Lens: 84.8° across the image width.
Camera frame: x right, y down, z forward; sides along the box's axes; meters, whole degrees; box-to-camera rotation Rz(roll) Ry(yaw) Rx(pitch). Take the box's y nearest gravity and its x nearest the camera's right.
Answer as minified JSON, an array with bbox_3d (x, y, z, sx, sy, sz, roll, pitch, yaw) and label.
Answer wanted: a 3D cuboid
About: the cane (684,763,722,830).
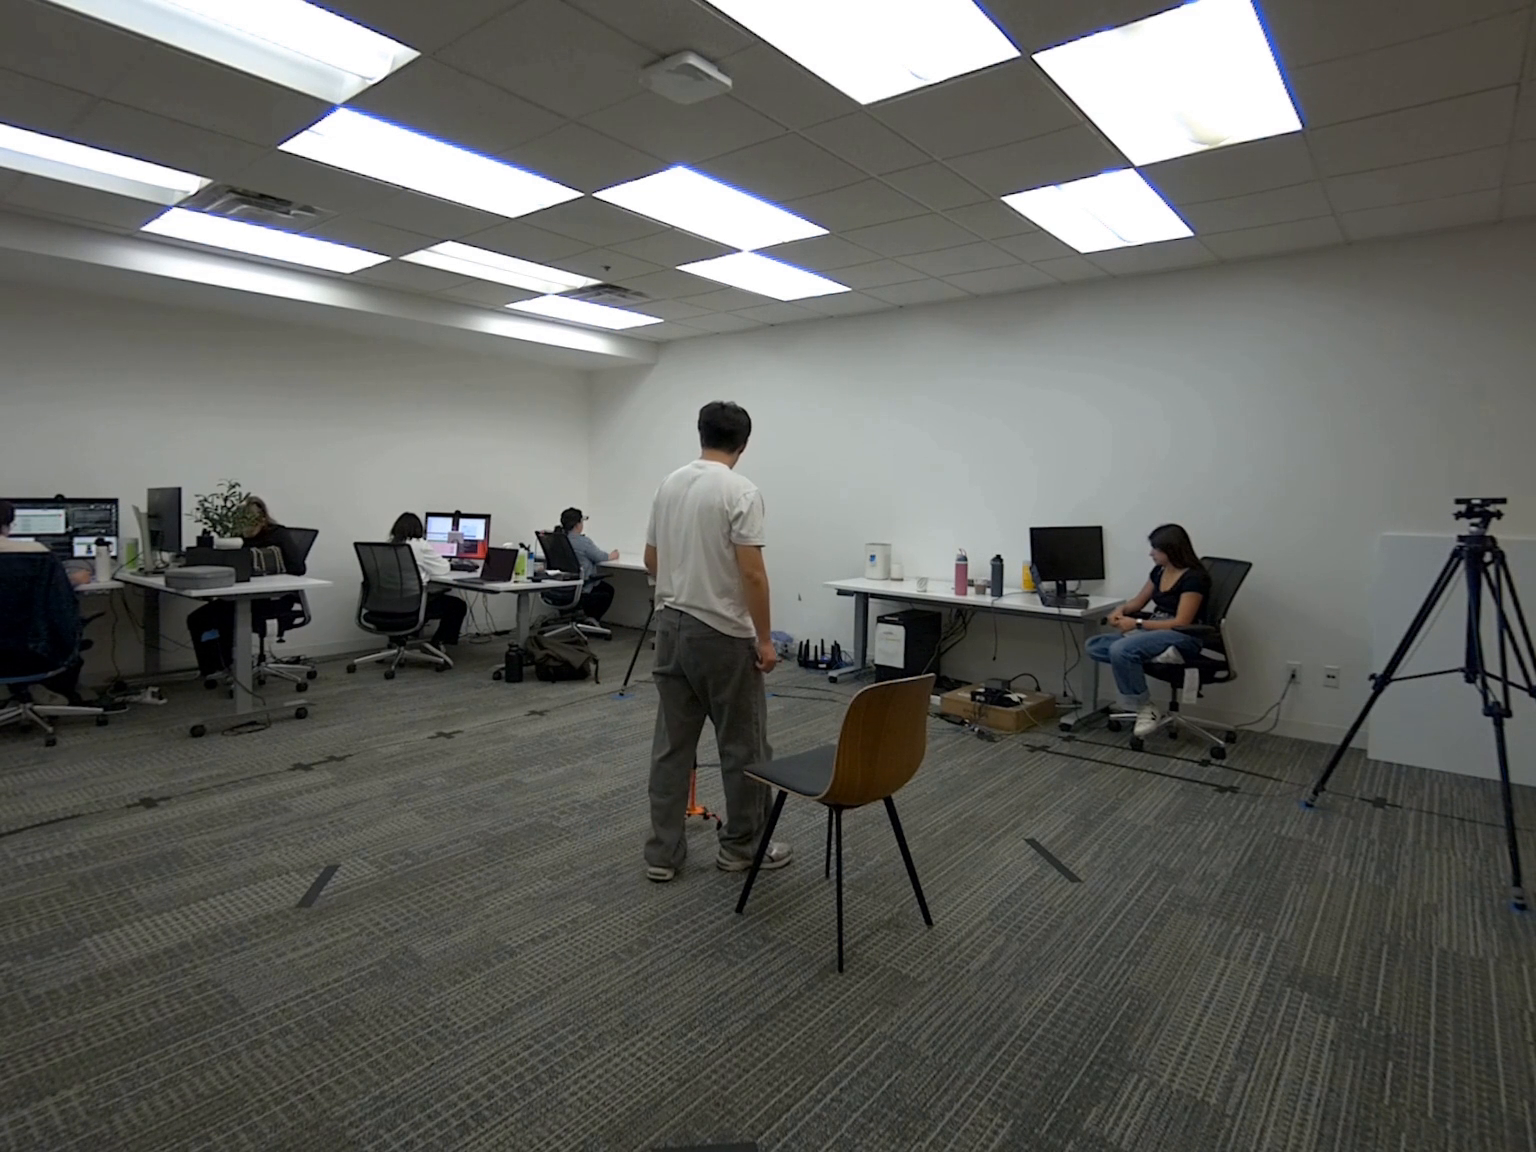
[{"bbox_3d":[-0.287,0.564,3.485,0.201,0.906,0.156,1,2,-26],"label":"cane"}]
